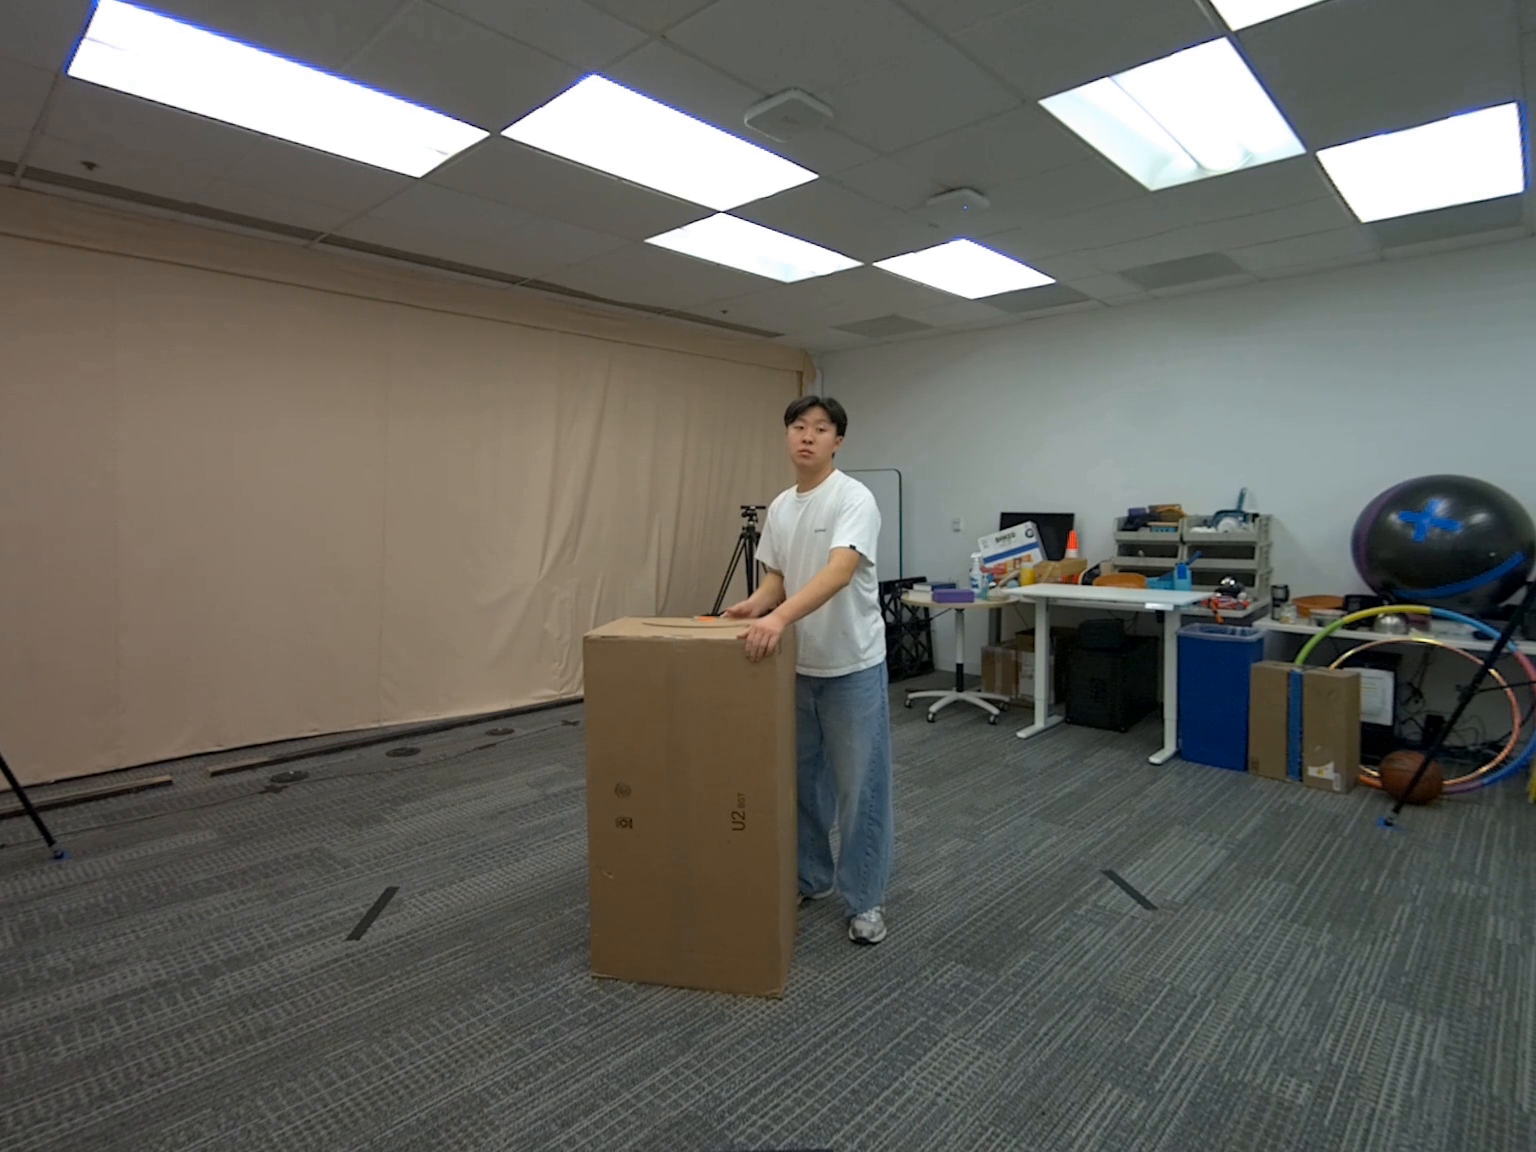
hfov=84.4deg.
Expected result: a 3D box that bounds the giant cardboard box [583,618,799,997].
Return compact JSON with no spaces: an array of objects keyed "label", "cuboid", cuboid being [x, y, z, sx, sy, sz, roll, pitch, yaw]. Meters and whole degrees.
[{"label":"giant cardboard box","cuboid":[-0.228,0.668,2.602,0.585,1.024,0.422,0,3,11]}]
